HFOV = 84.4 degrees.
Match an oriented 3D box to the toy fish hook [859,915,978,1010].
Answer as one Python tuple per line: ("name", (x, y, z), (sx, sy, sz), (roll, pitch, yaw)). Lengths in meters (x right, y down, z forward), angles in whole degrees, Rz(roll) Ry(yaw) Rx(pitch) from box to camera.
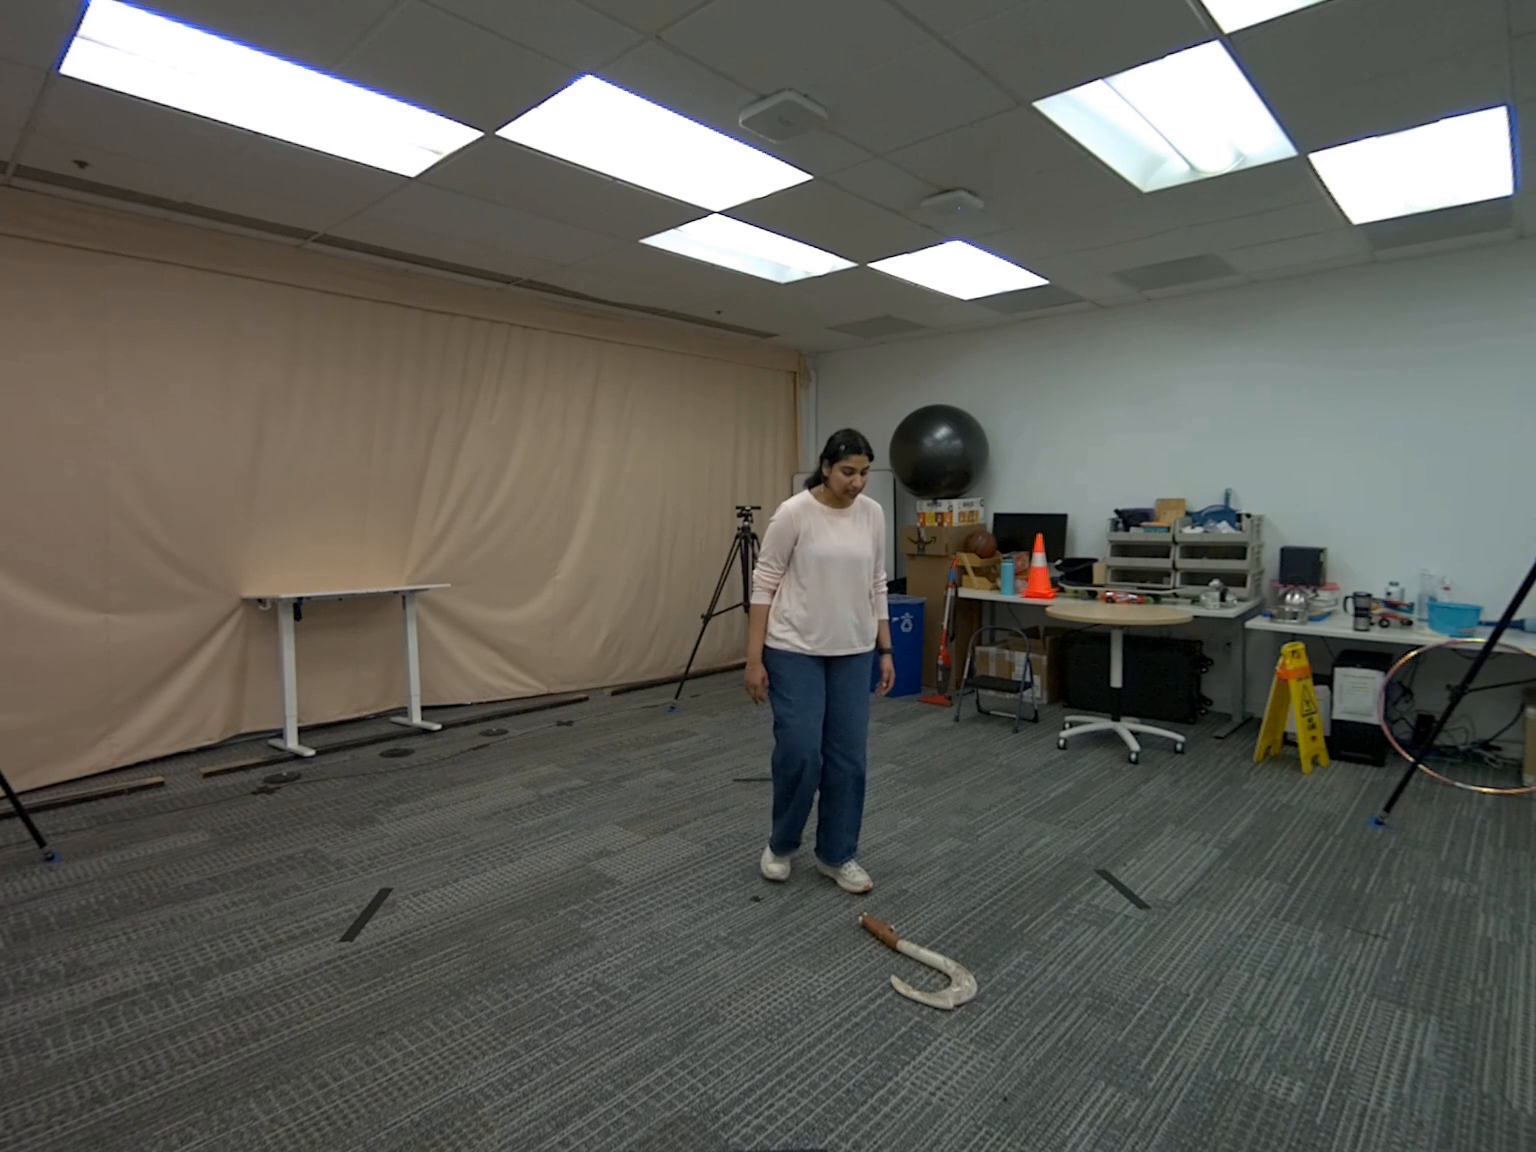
("toy fish hook", (0.407, 1.154, 2.554), (0.218, 0.048, 0.522), (-3, 5, -32))
